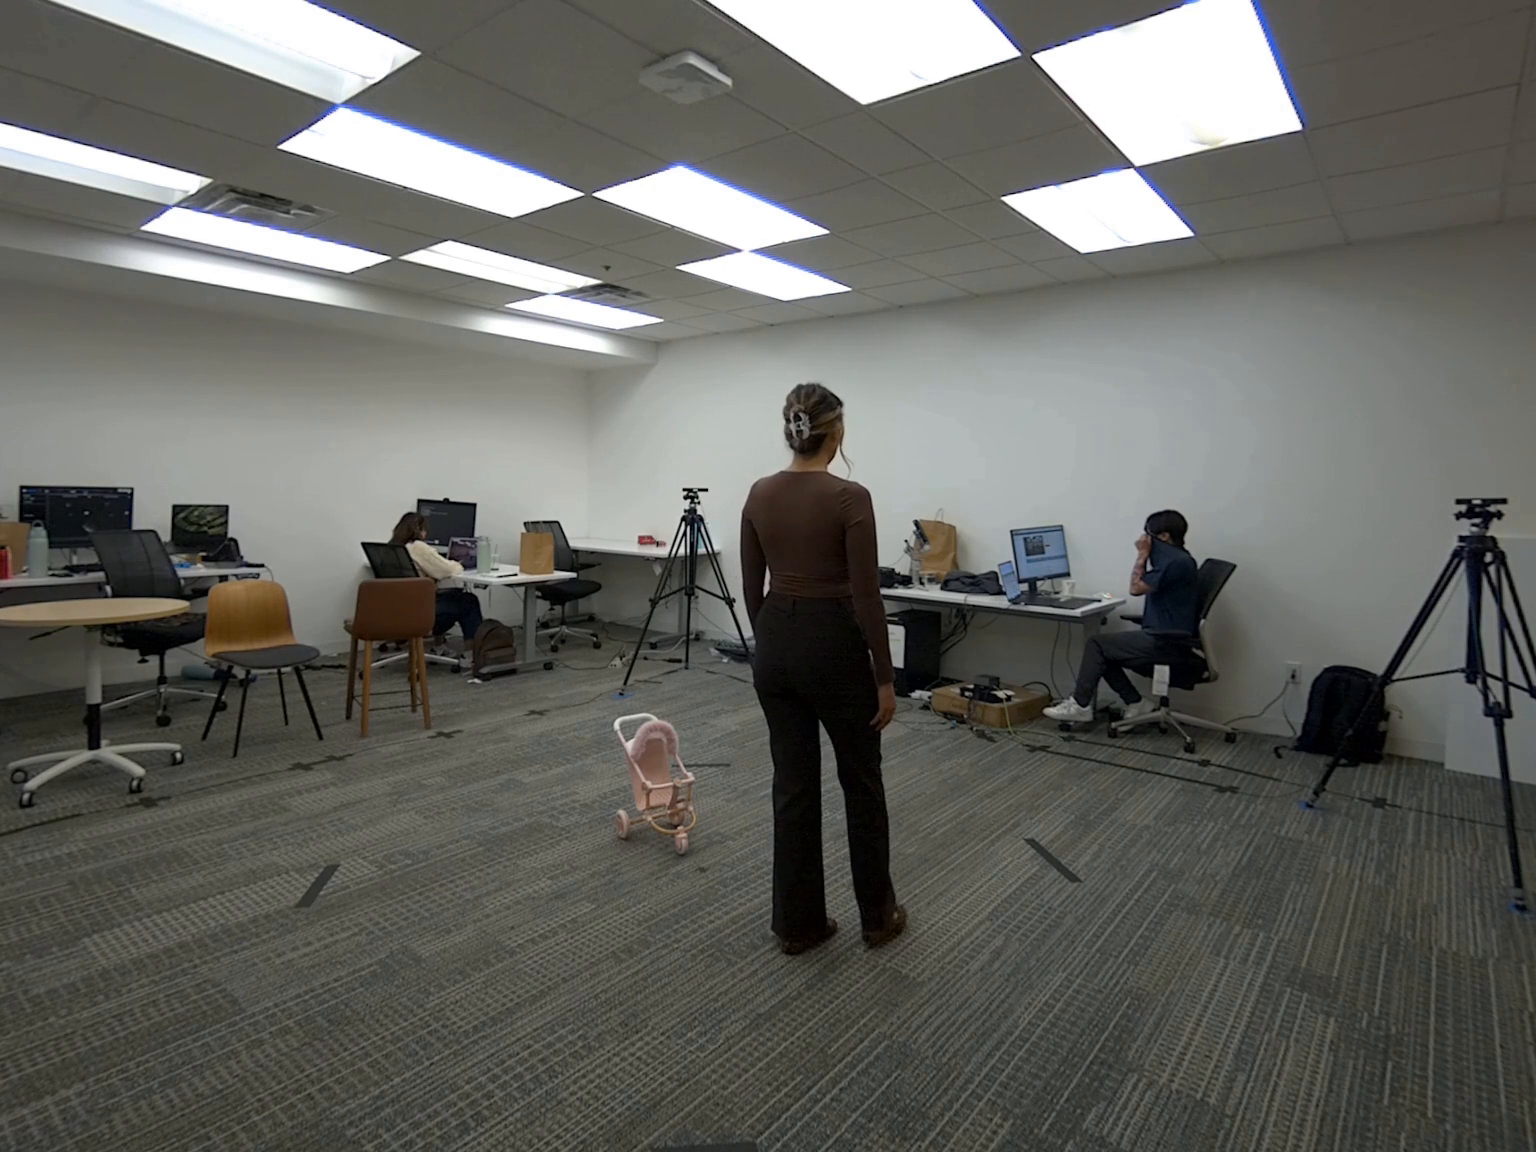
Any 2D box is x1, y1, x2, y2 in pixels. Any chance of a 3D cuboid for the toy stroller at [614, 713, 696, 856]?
[{"bbox_3d":[-0.451,0.810,3.384,0.274,0.541,0.347,-1,-12,-32],"label":"toy stroller"}]
